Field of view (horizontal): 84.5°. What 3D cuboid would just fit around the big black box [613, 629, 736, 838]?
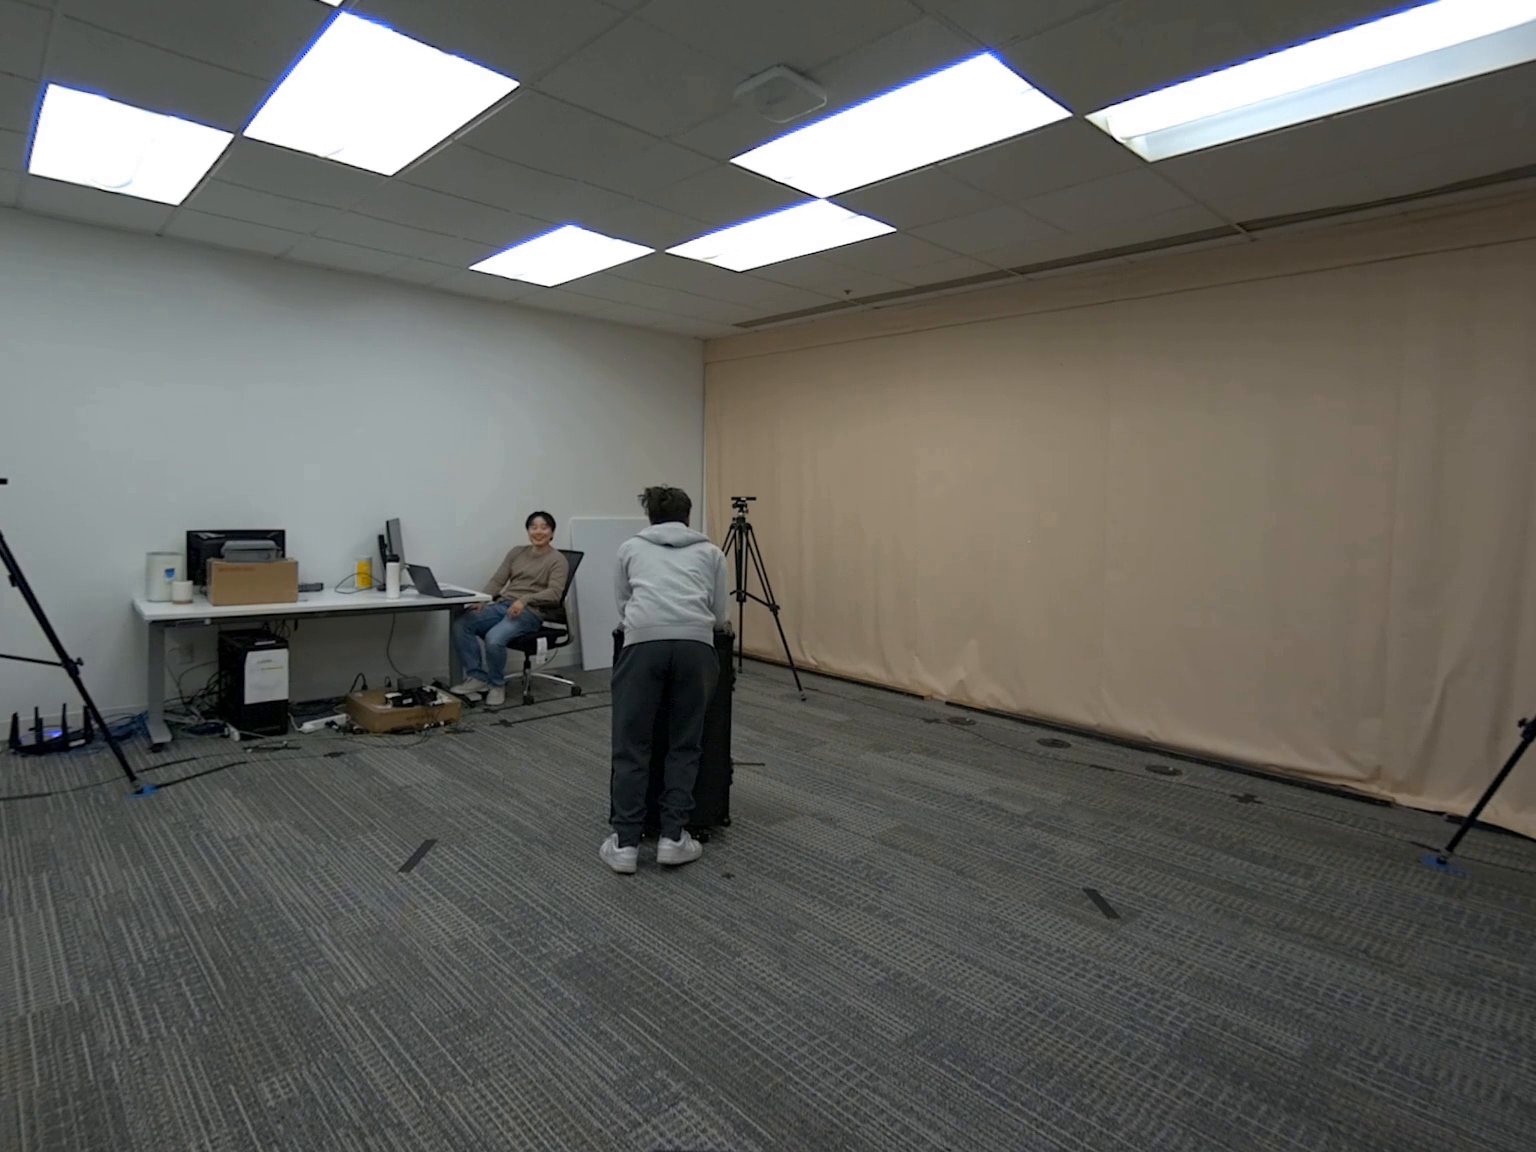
[{"bbox_3d":[-0.414,0.638,3.565,0.520,0.860,0.398,2,2,-4],"label":"big black box"}]
